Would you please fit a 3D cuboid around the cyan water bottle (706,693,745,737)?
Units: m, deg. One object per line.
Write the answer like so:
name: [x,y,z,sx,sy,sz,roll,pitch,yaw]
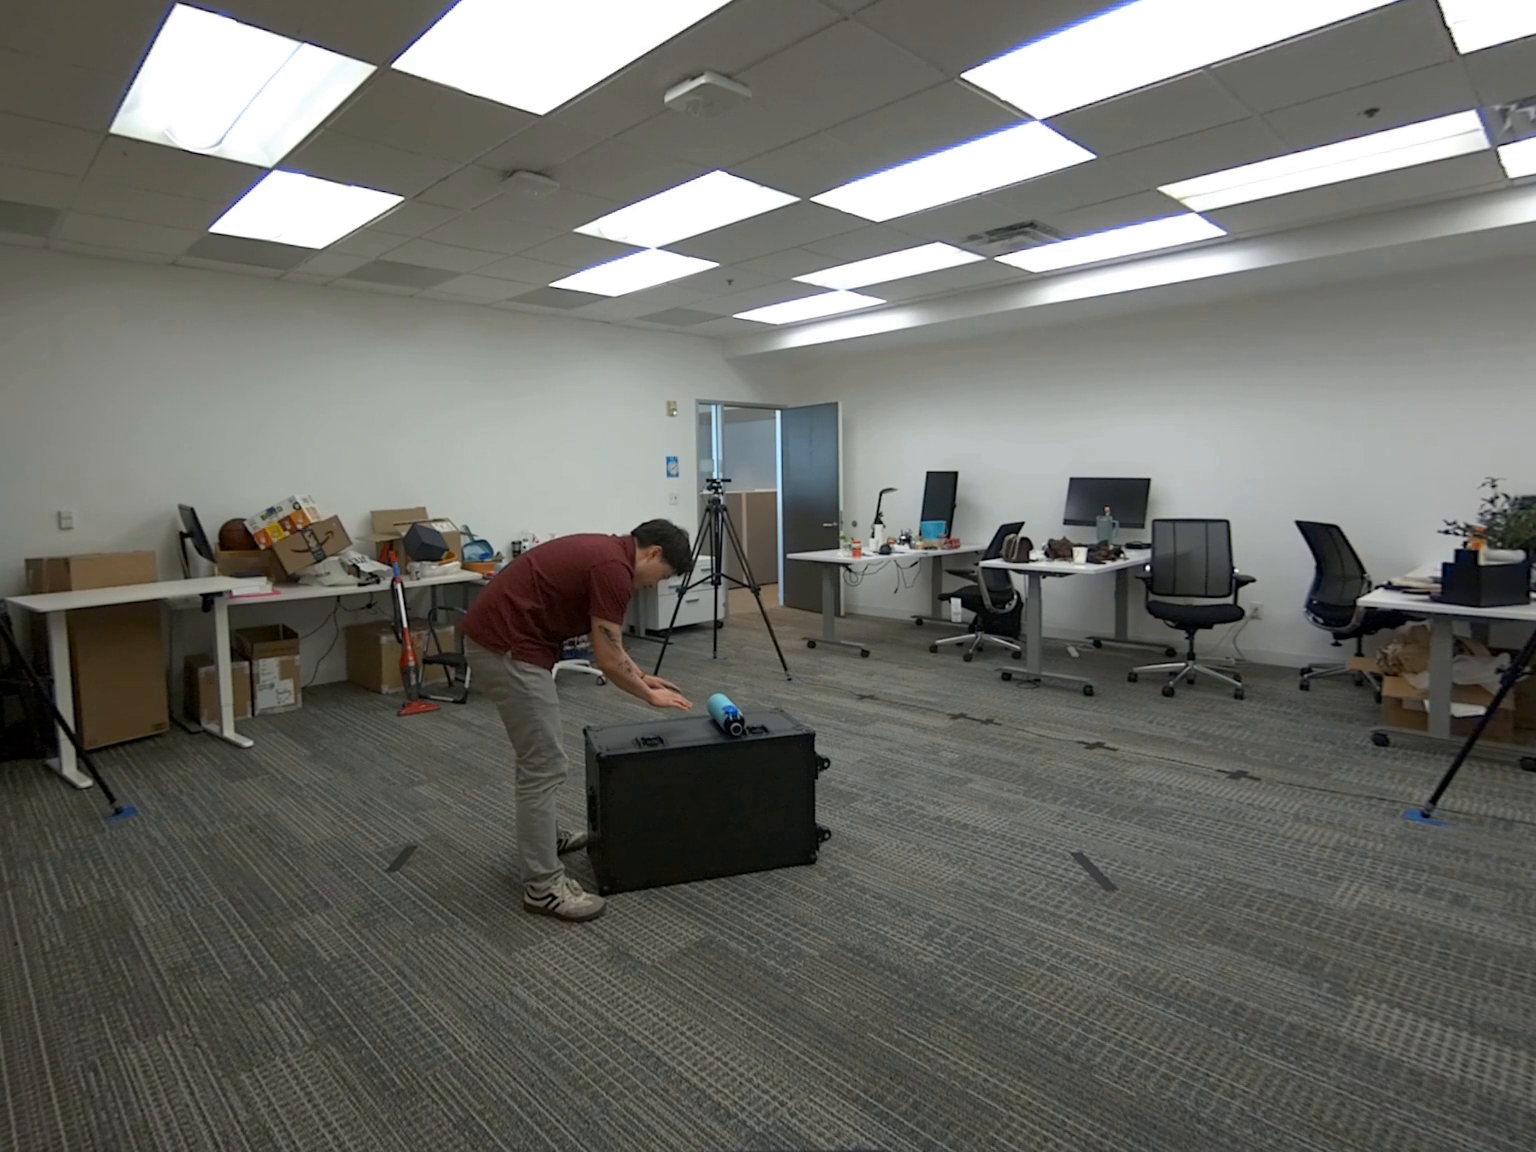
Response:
cyan water bottle: [-0.160,0.508,3.159,0.091,0.092,0.287,-2,6,-12]
